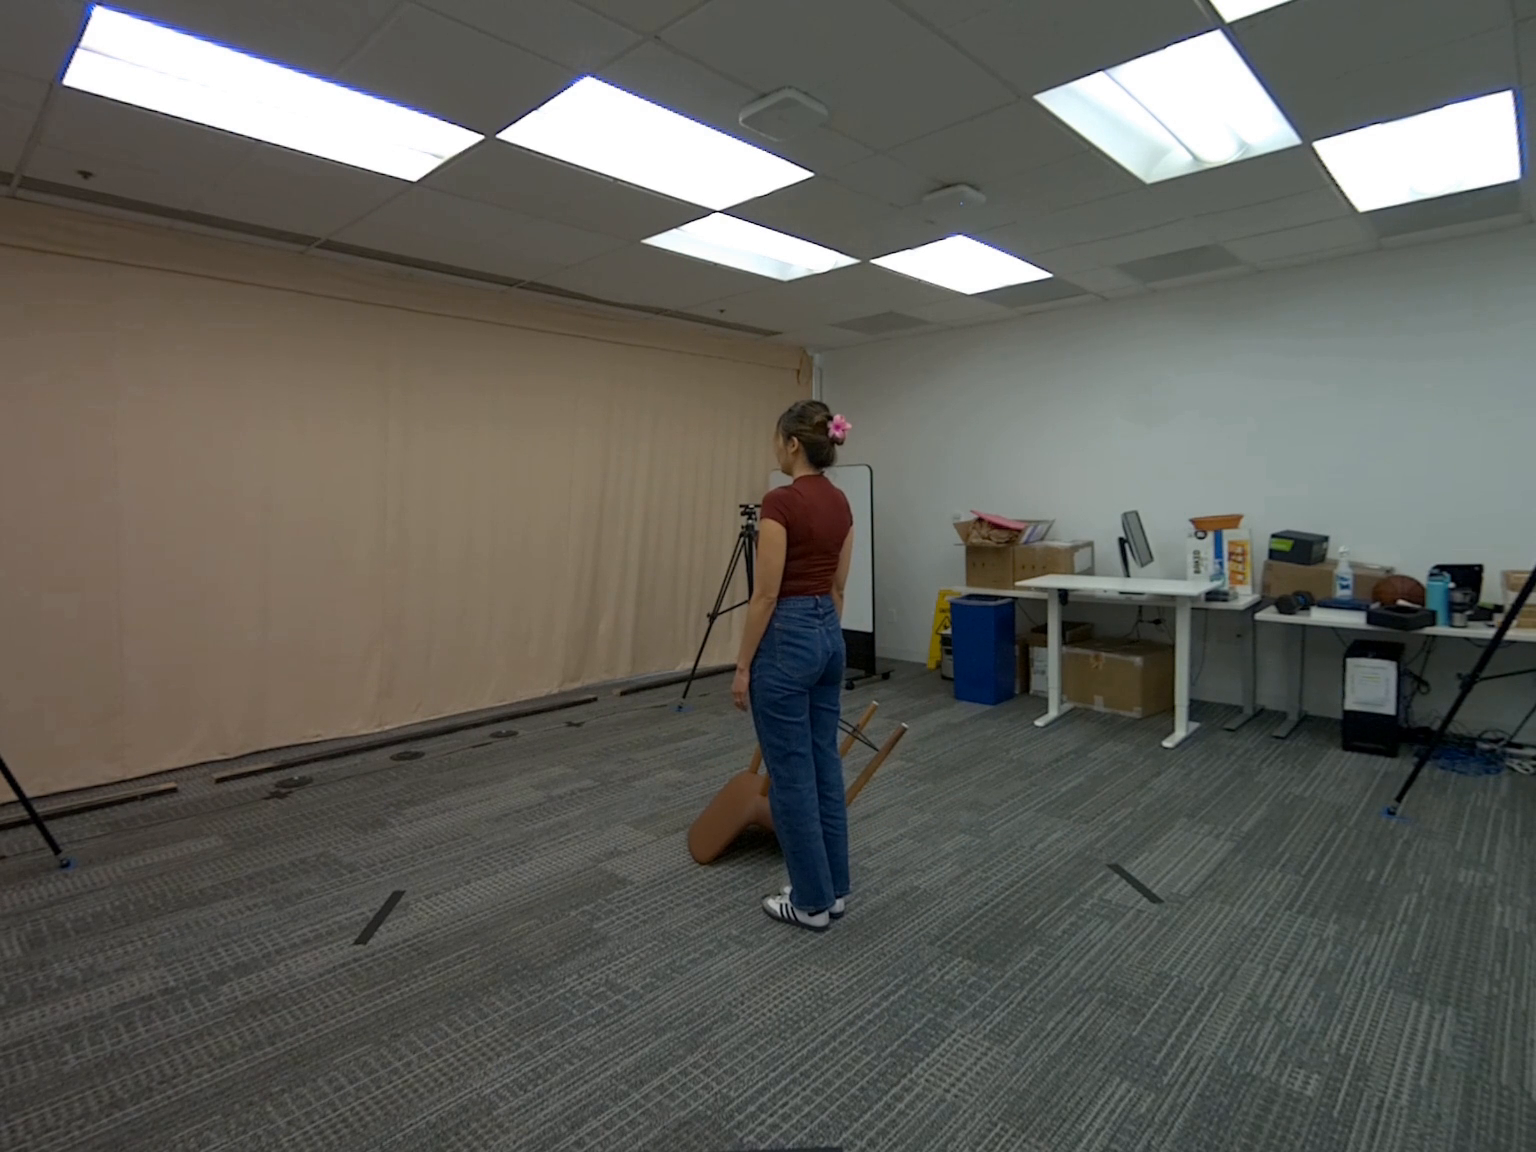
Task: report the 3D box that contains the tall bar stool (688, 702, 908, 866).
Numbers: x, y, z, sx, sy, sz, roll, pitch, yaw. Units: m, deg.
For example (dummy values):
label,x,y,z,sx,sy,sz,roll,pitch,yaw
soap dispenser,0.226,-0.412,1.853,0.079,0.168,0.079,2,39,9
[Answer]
label,x,y,z,sx,sy,sz,roll,pitch,yaw
tall bar stool,0.101,0.841,3.476,0.463,0.889,0.461,33,-2,-9
